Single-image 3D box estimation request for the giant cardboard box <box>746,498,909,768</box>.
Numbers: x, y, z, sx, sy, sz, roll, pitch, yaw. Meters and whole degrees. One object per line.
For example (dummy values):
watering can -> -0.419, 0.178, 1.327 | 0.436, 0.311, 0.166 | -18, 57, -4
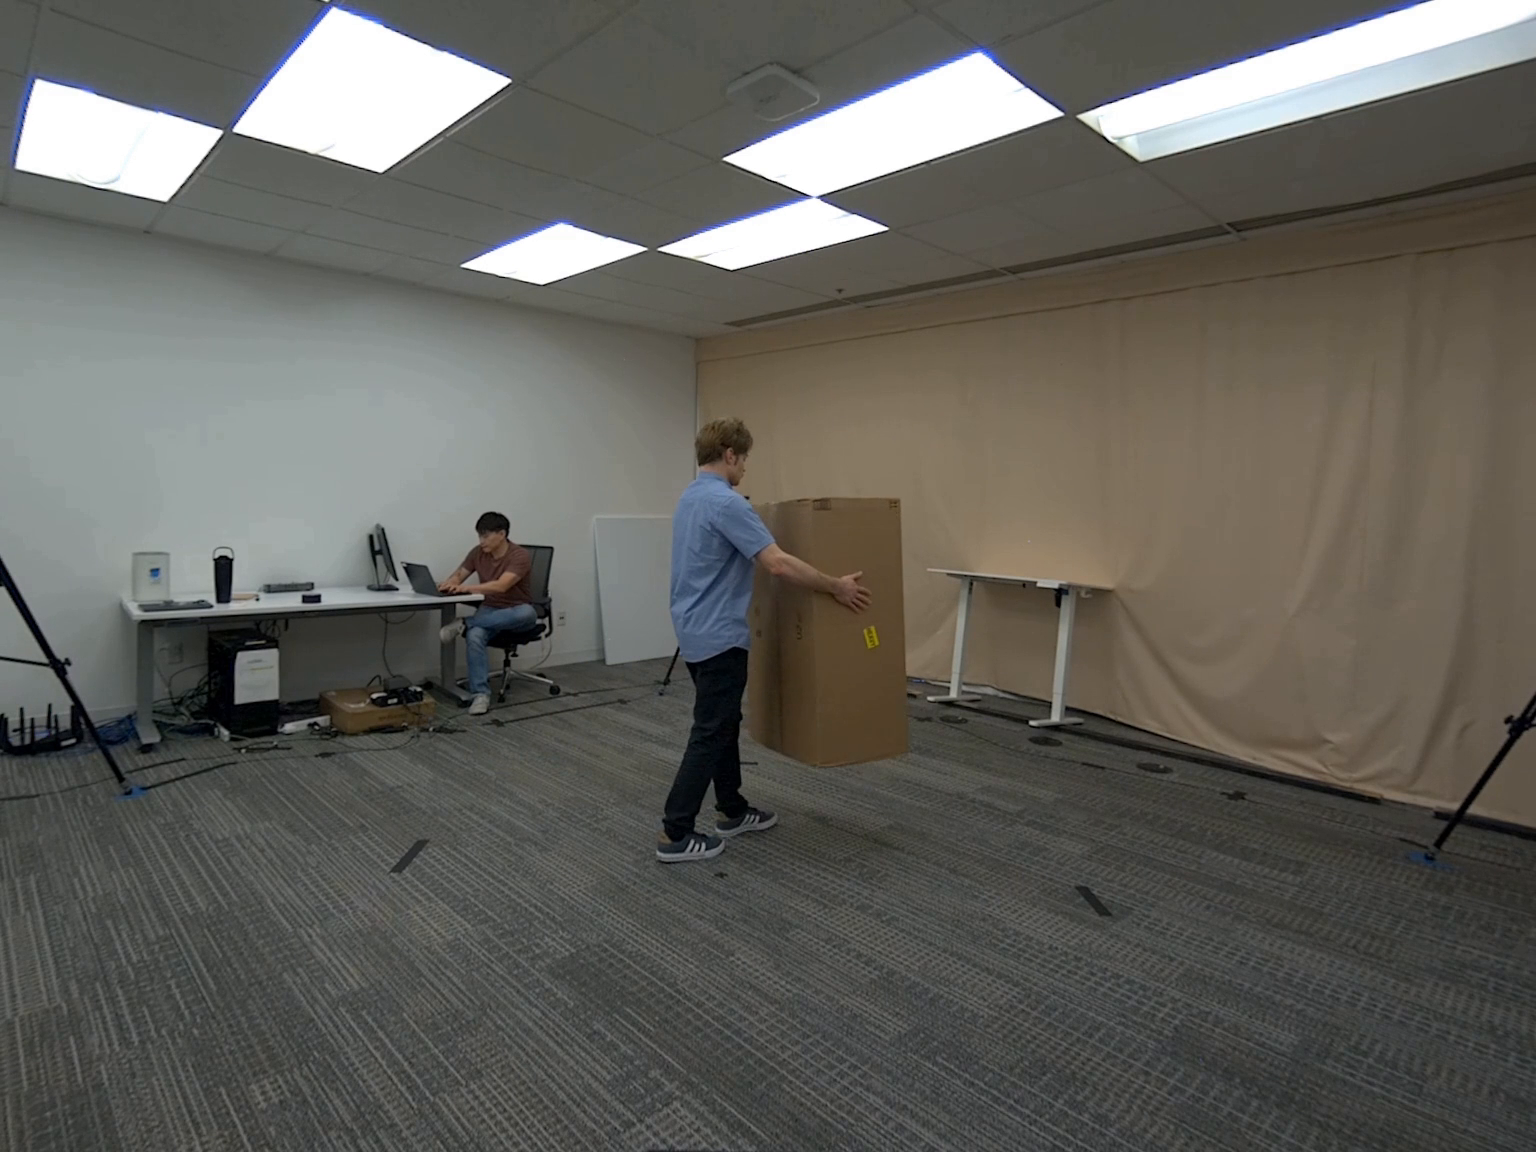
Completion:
giant cardboard box -> 0.221, 0.207, 3.512 | 0.418, 1.026, 0.588 | -1, 0, -28
